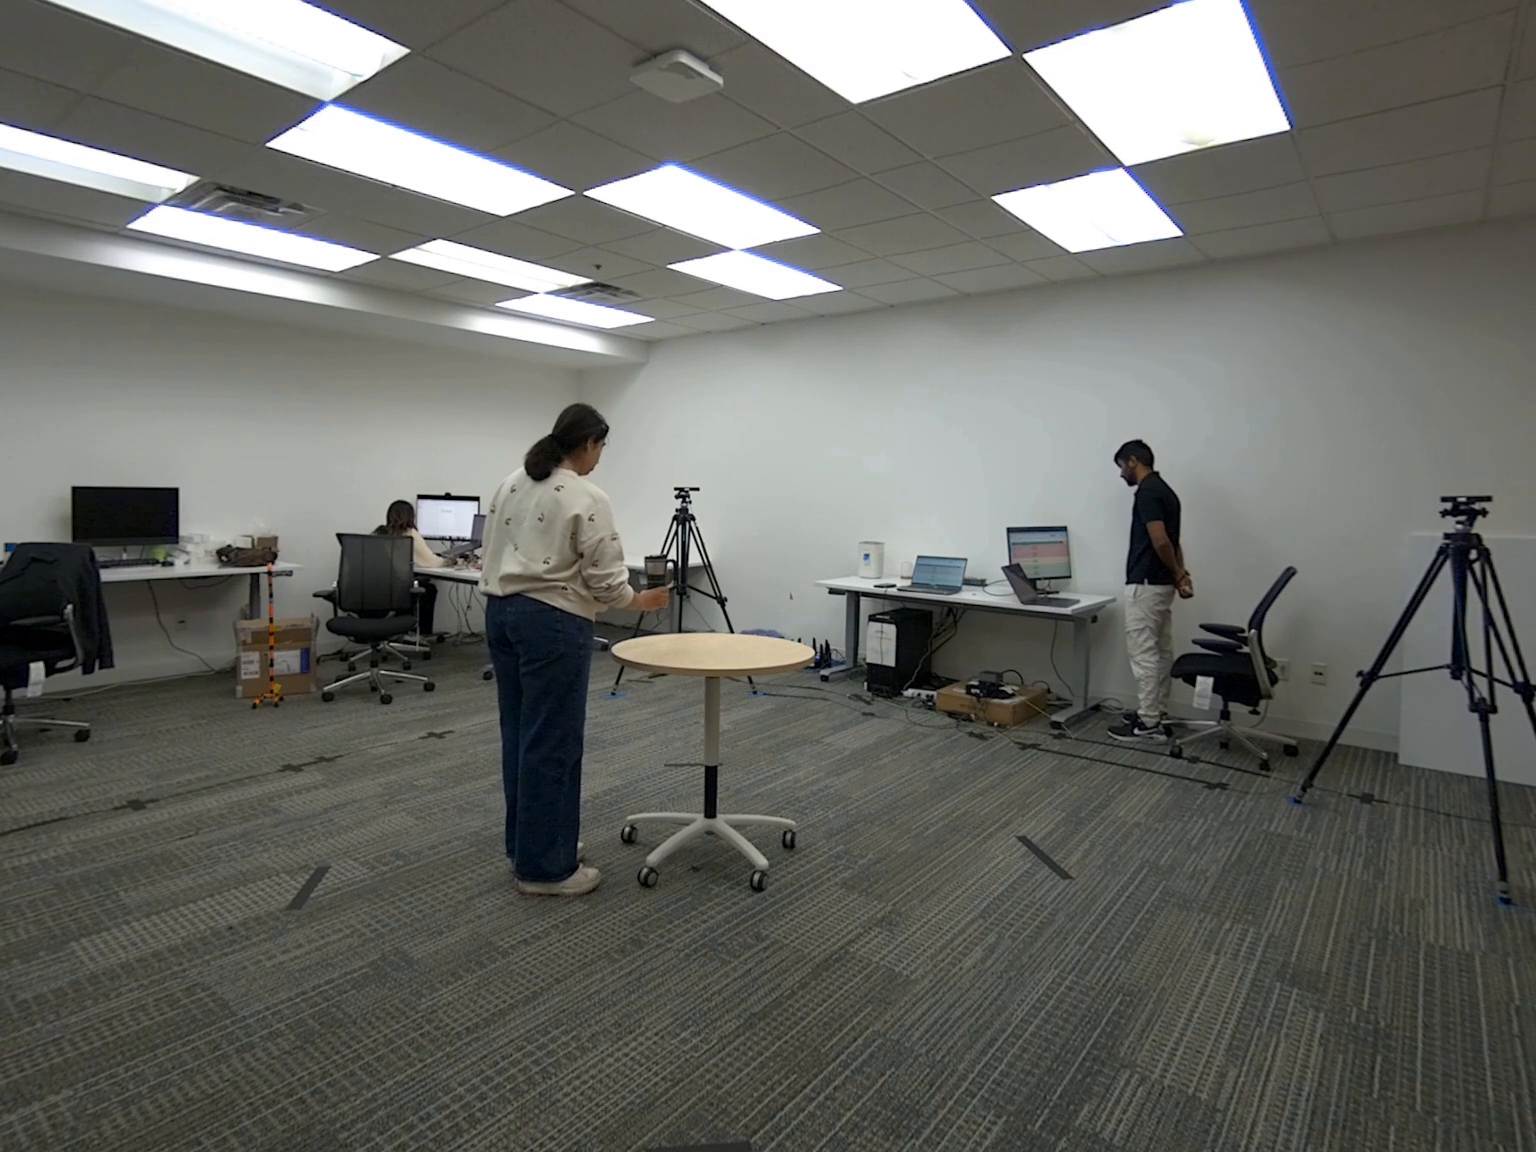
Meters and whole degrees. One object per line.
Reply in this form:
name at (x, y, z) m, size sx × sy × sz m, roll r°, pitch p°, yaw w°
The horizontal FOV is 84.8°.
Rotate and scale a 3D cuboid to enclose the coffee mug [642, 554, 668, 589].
coffee mug at (-0.420, 0.021, 3.212) m, size 0.124 × 0.203 × 0.086 m, roll 0°, pitch 1°, yaw 16°
